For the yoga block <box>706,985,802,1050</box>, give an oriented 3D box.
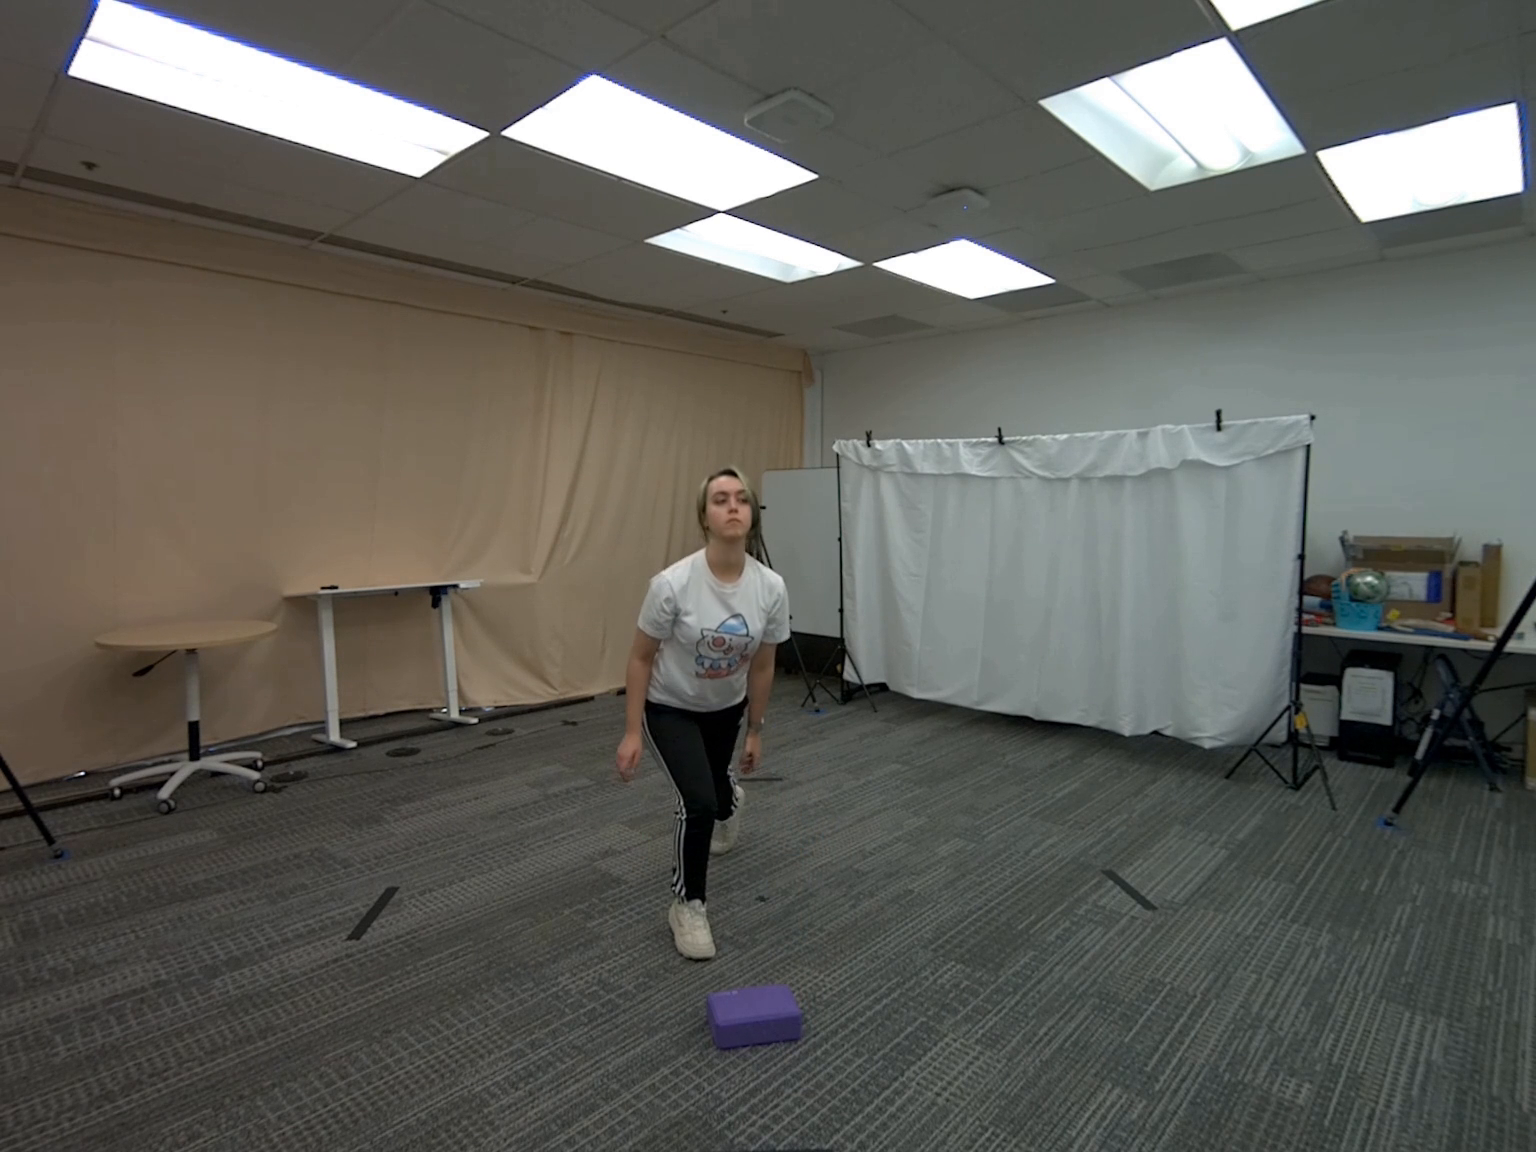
[{"bbox_3d":[-0.033,1.168,2.236,0.227,0.076,0.151,0,4,-11],"label":"yoga block"}]
